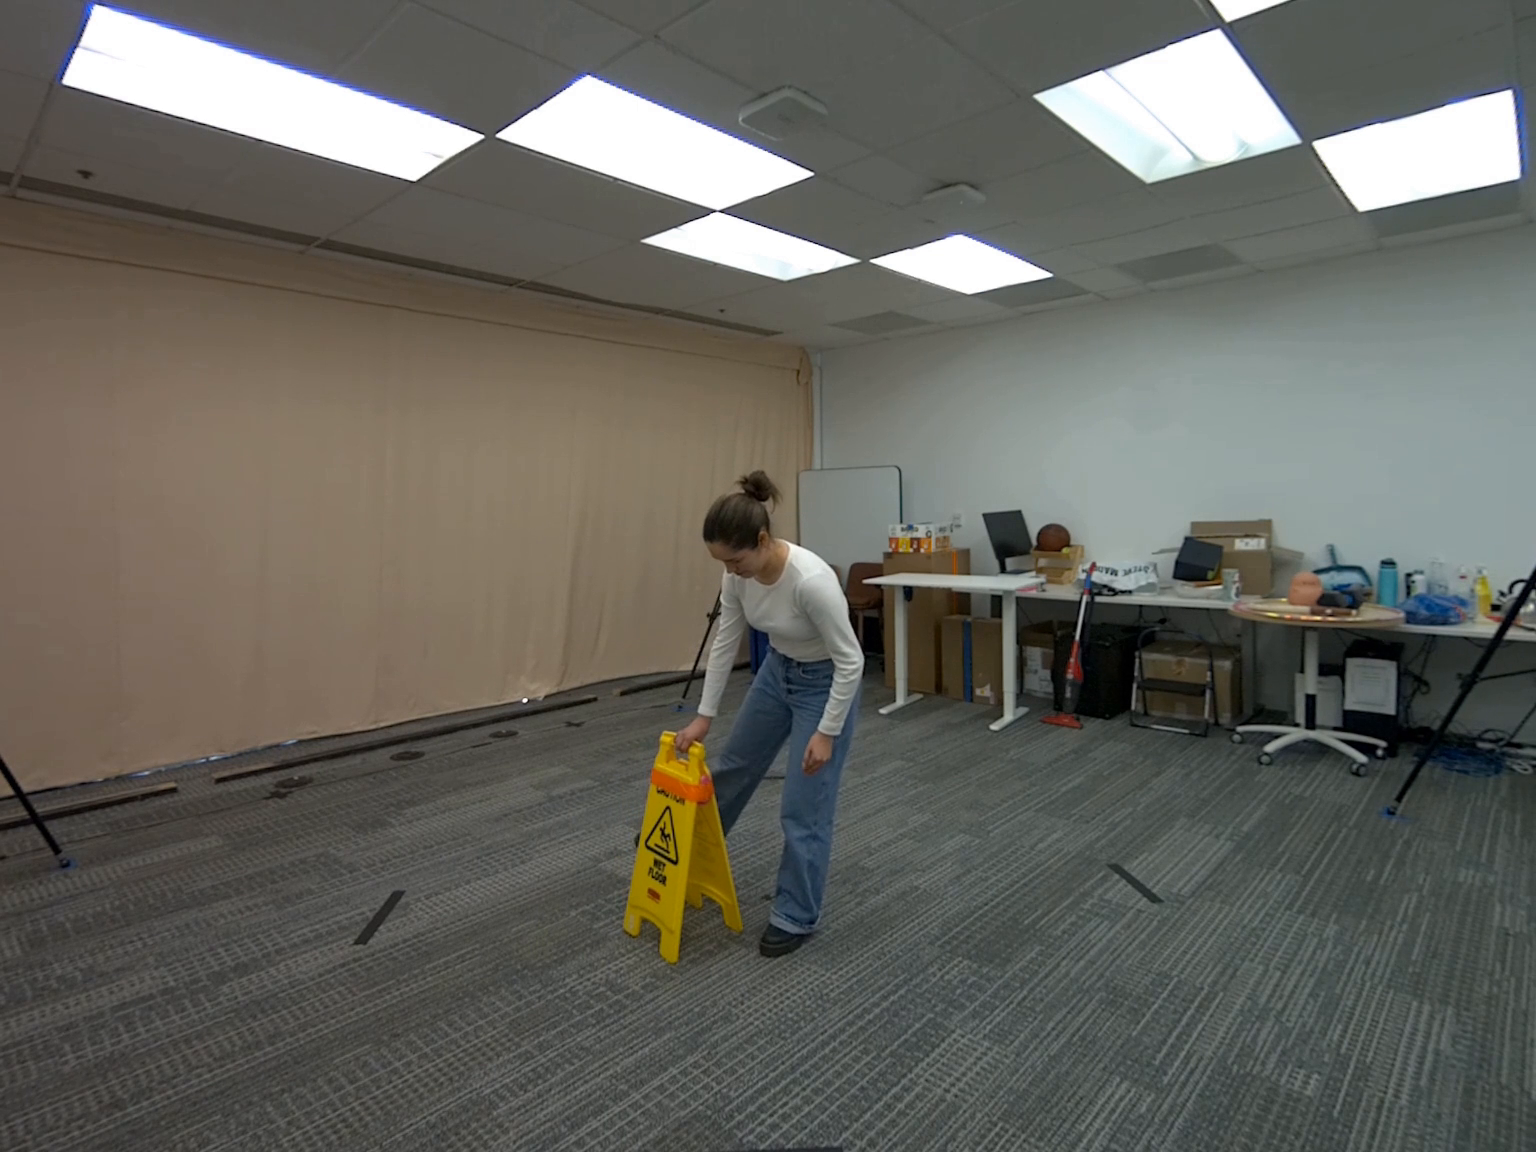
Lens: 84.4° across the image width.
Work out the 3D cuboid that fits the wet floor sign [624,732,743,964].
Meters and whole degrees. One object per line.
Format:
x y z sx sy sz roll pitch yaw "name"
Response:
-0.274 0.840 2.730 0.281 0.644 0.292 -4 7 -43 "wet floor sign"
